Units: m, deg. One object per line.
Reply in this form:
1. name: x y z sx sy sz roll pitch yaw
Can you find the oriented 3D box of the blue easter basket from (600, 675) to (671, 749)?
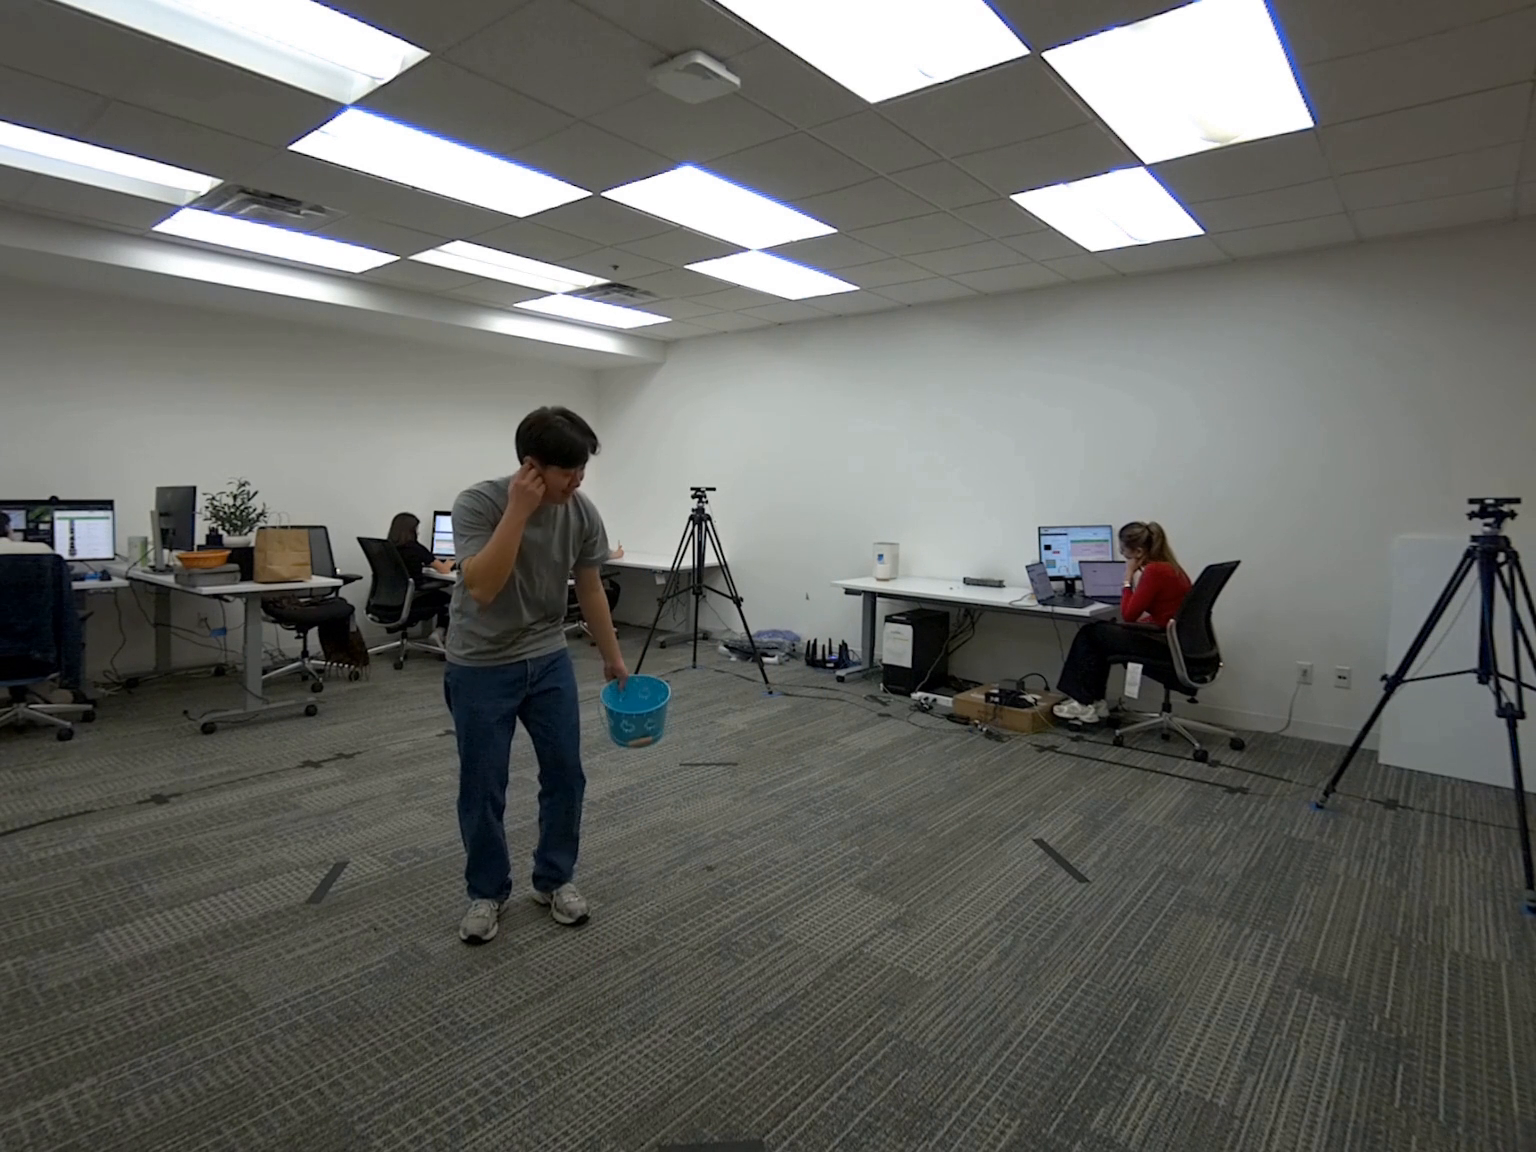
1. blue easter basket: -0.458 0.473 2.775 0.243 0.153 0.248 -1 21 -2
